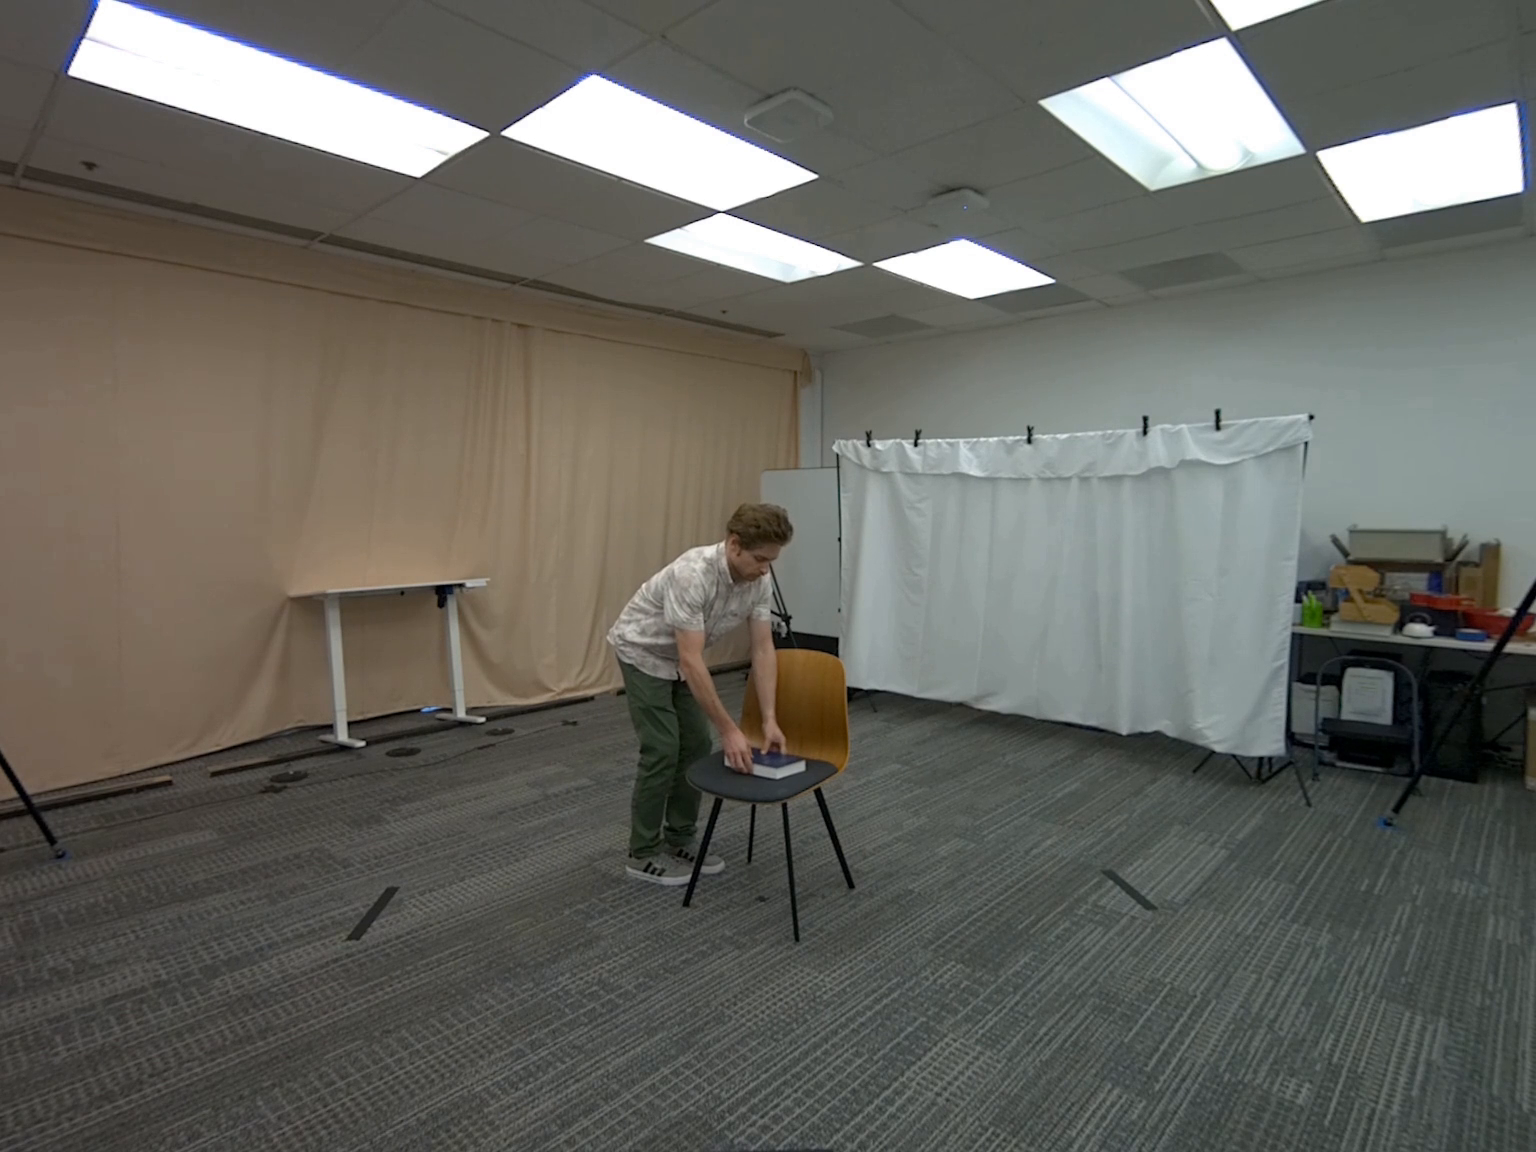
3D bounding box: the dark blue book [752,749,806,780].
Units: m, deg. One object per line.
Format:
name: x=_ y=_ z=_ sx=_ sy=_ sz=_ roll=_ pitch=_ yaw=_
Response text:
dark blue book: x=-0.003 y=0.650 z=2.929 sx=0.253 sy=0.045 sz=0.158 roll=2 pitch=3 yaw=41
